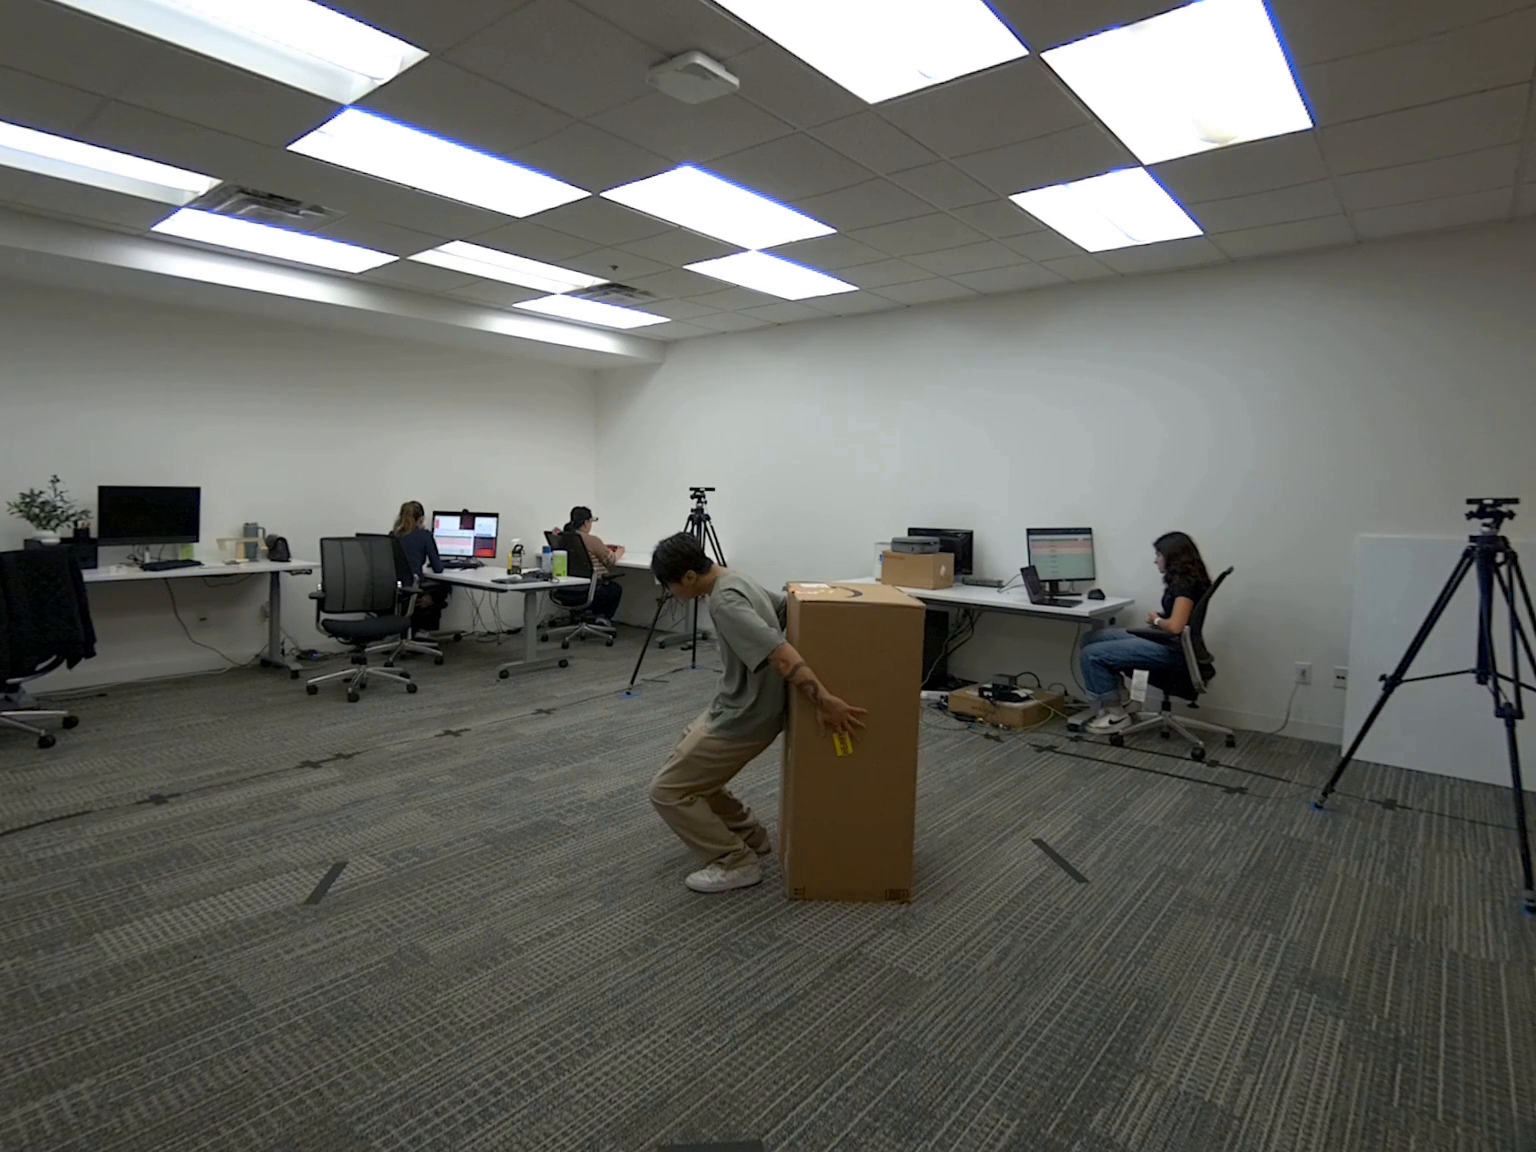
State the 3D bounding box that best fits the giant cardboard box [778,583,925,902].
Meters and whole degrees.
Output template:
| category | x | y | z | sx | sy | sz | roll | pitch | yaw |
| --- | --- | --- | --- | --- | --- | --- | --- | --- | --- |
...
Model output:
| category | x | y | z | sx | sy | sz | roll | pitch | yaw |
| --- | --- | --- | --- | --- | --- | --- | --- | --- | --- |
| giant cardboard box | 0.279 | 0.565 | 3.137 | 0.426 | 1.022 | 0.581 | 2 | 4 | -3 |
